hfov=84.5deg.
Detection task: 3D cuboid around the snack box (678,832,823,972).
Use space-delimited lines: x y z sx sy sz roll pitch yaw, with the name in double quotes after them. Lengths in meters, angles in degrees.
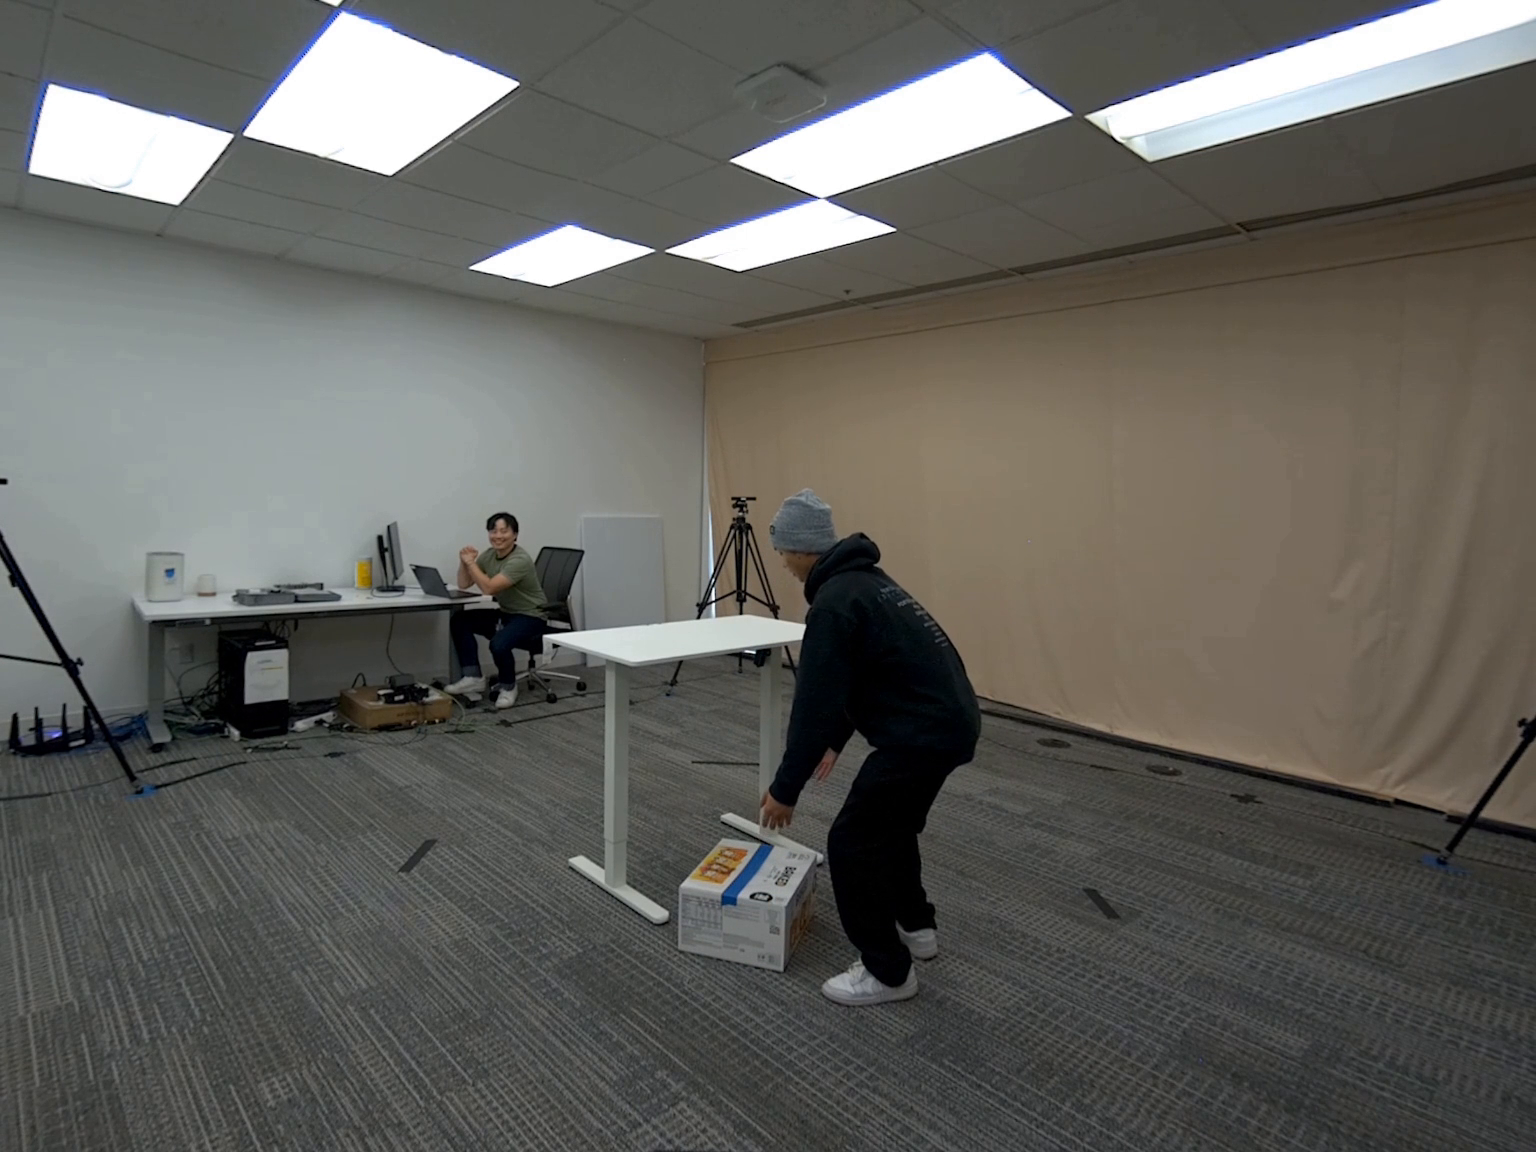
-0.061 1.046 2.706 0.345 0.205 0.400 2 5 18 "snack box"
